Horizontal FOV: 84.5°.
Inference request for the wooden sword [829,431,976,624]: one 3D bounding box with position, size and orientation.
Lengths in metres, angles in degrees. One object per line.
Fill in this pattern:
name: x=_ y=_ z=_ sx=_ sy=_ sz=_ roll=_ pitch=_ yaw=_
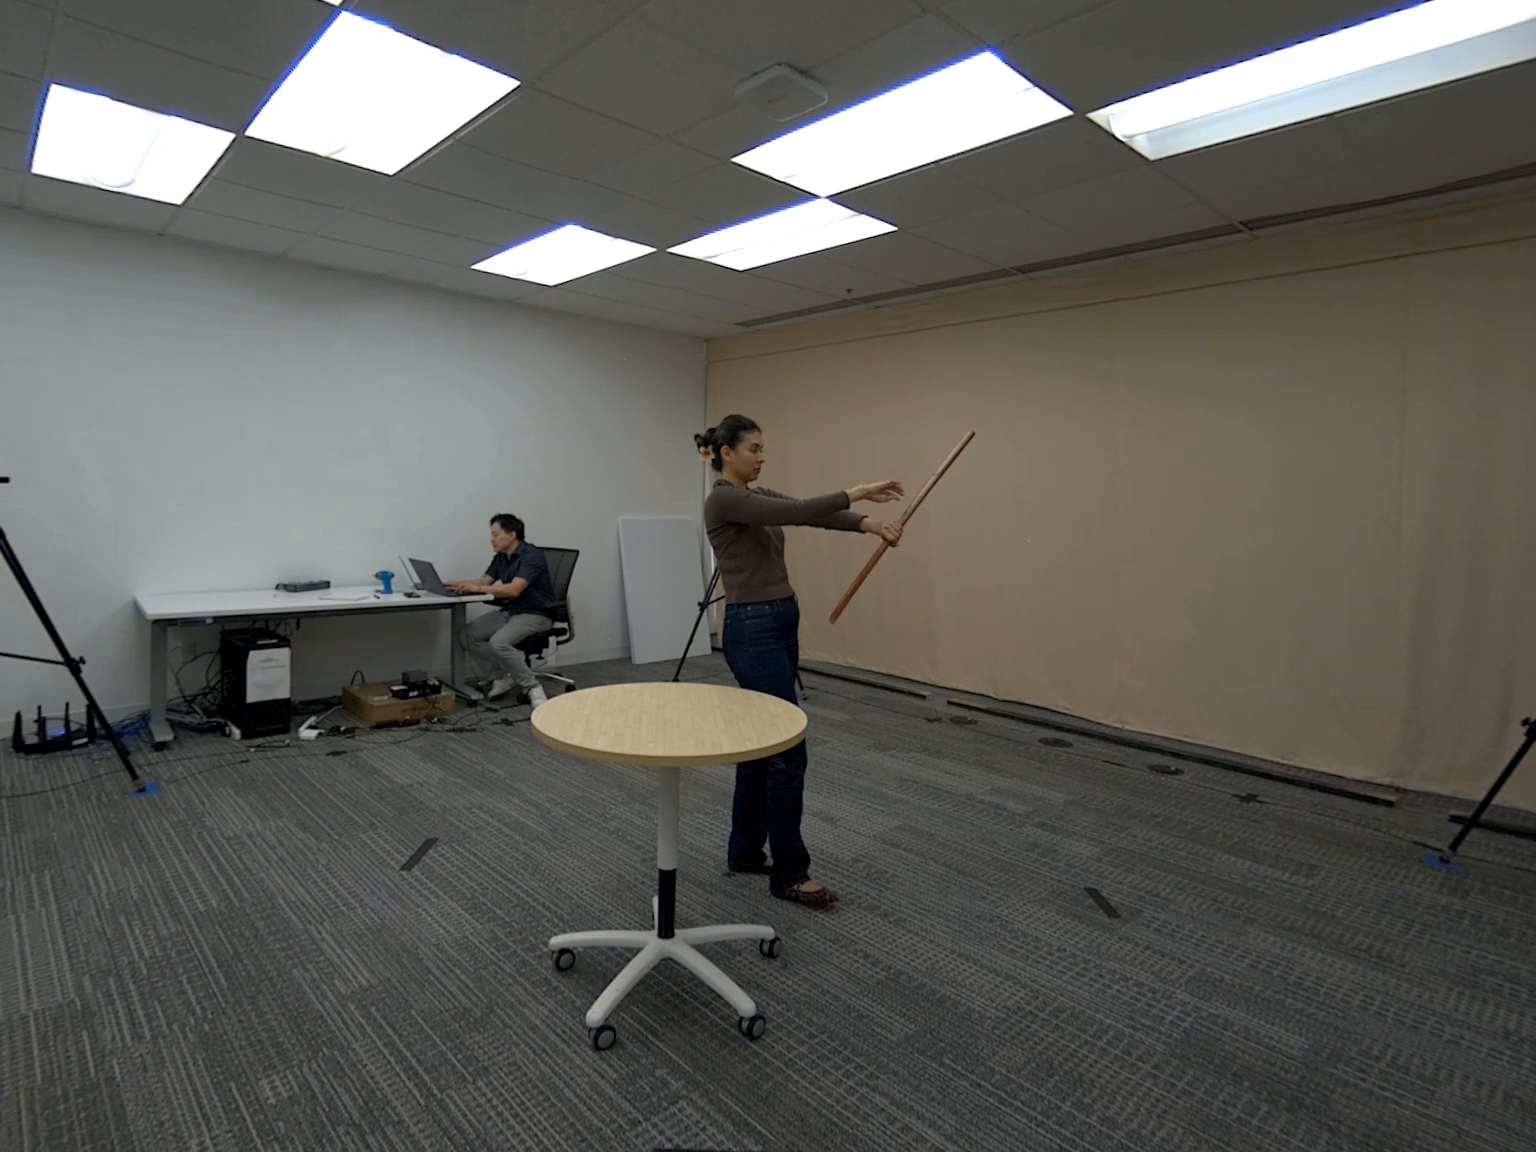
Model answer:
wooden sword: x=0.471 y=-0.189 z=2.902 sx=1.025 sy=0.024 sz=0.051 roll=-50 pitch=7 yaw=-29
